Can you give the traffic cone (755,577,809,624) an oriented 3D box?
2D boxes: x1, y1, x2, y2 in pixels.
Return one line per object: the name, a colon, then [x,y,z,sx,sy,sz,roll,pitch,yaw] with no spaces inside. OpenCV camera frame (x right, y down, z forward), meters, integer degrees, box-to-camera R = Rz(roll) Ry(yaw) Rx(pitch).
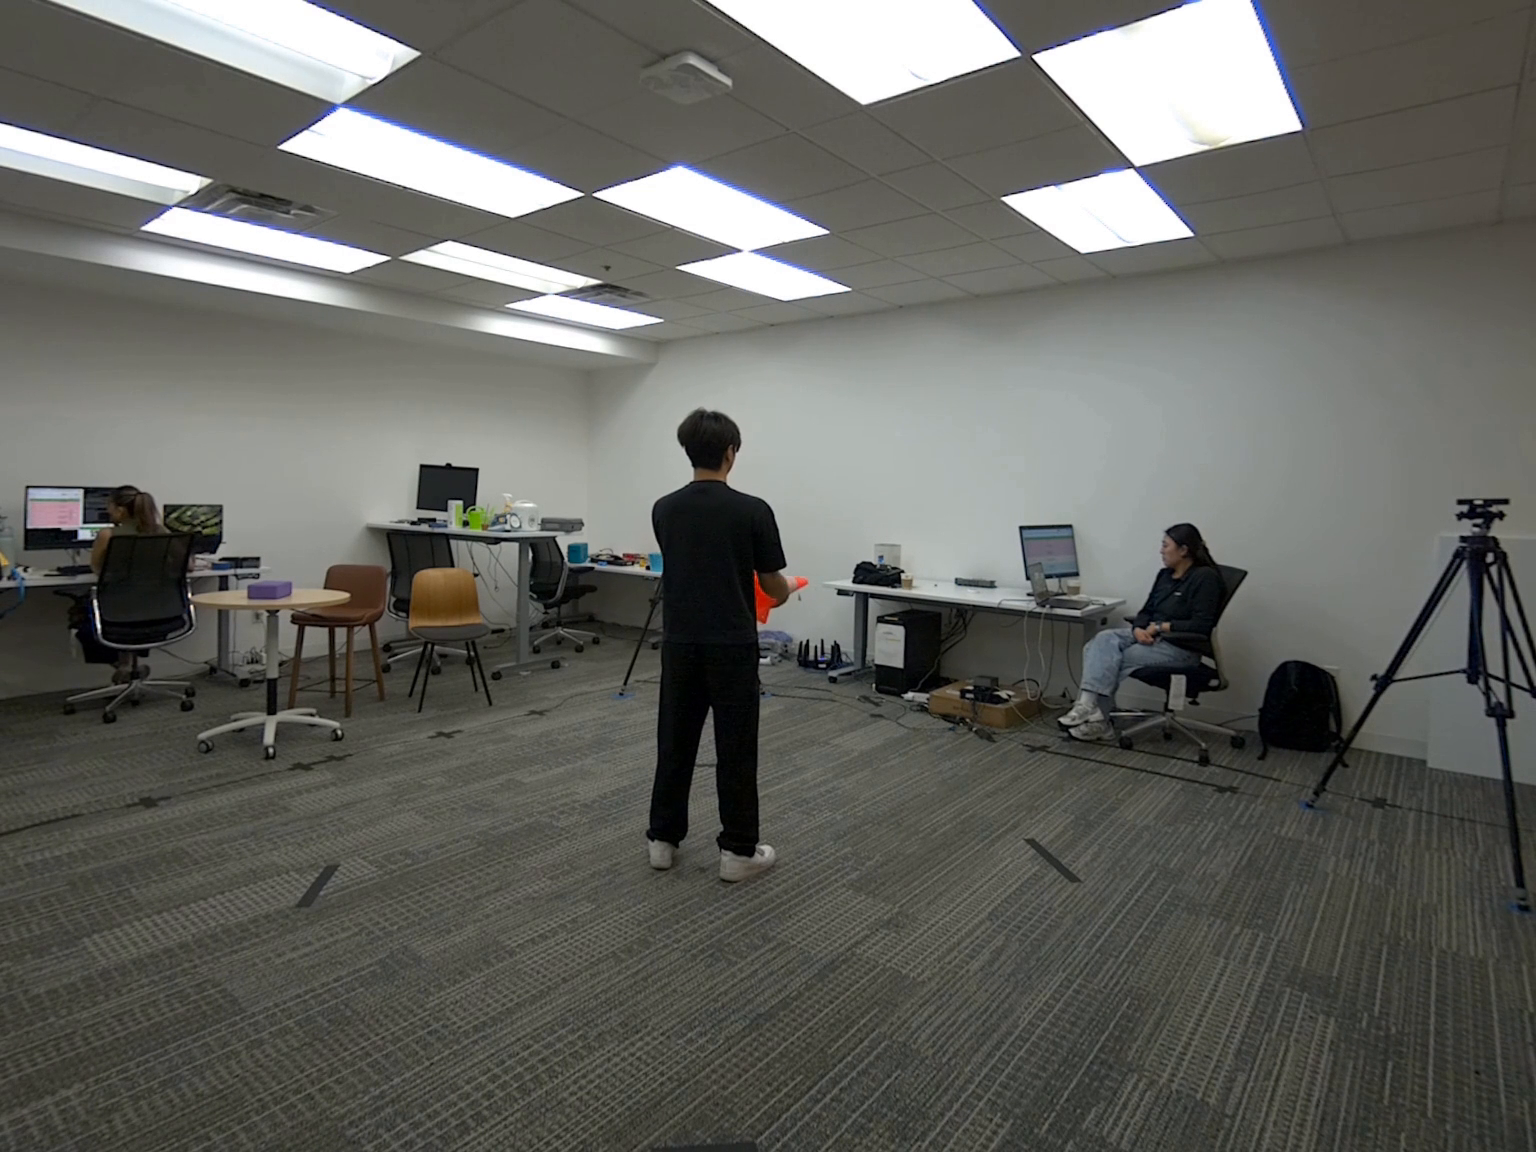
traffic cone: [0.052,0.040,3.560,0.211,0.202,0.373,26,22,35]
